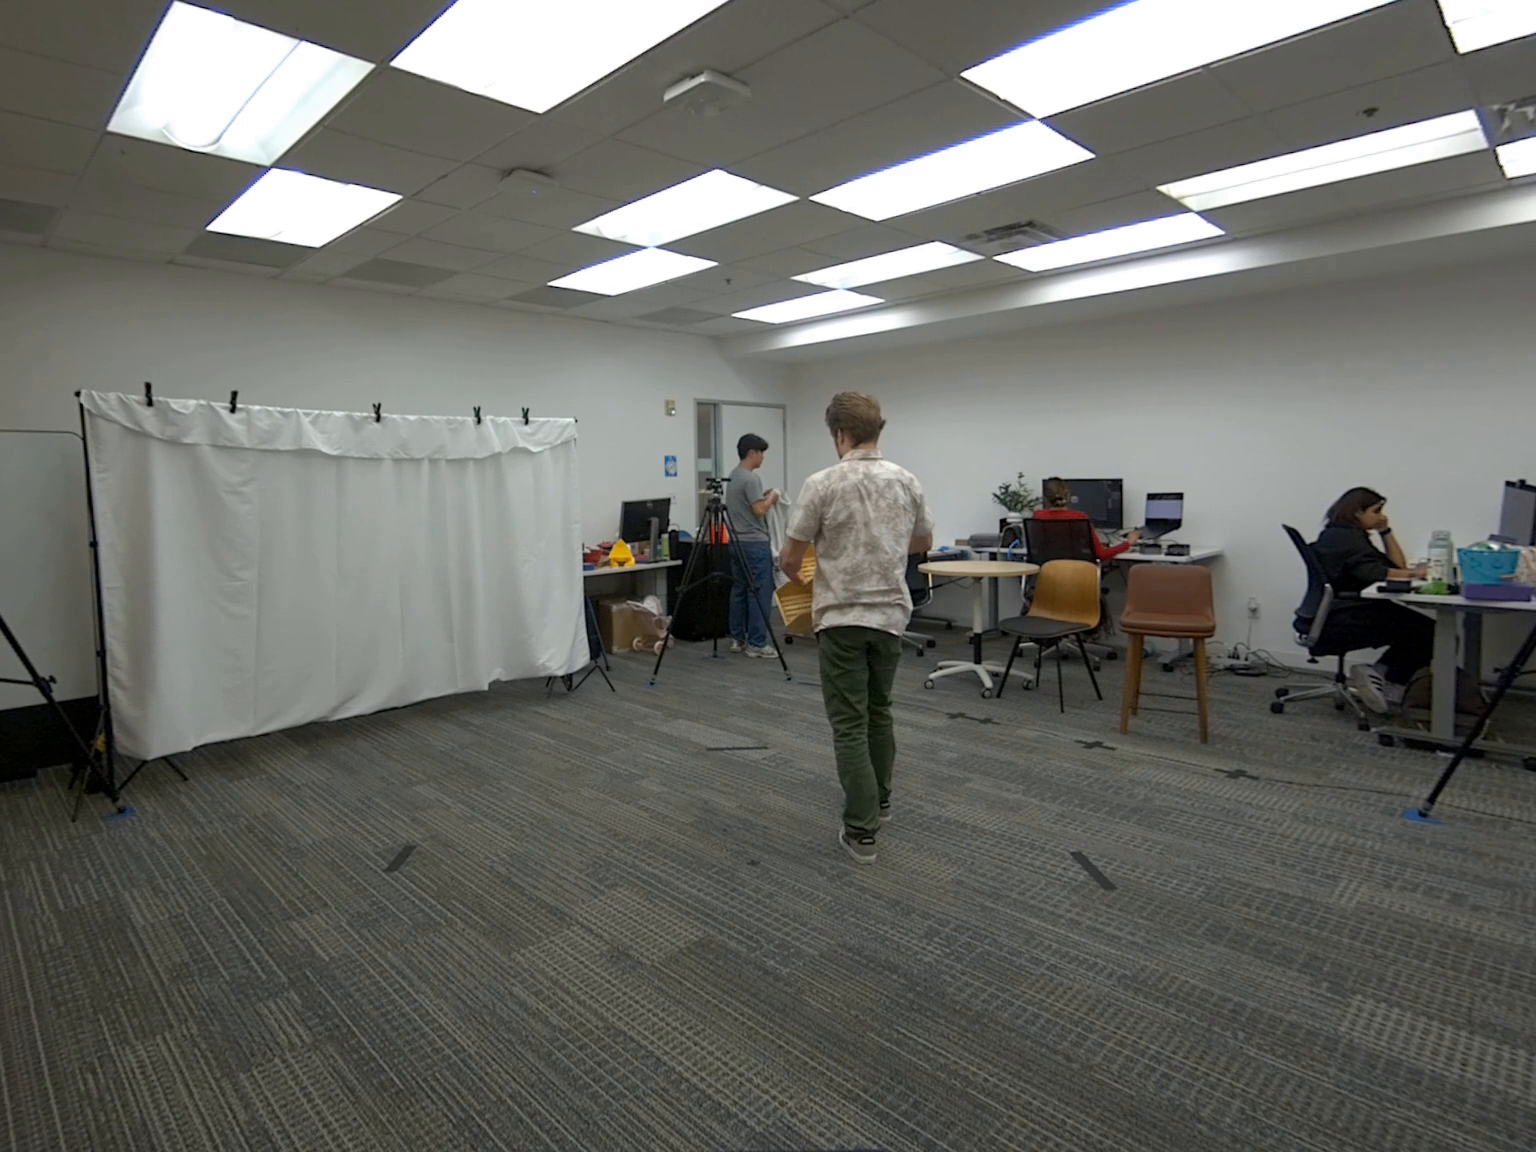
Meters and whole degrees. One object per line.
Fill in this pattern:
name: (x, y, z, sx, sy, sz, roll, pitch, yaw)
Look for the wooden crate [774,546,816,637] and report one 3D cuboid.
wooden crate: (0.189, 0.035, 3.555, 0.301, 0.267, 0.333, -10, 26, -4)
